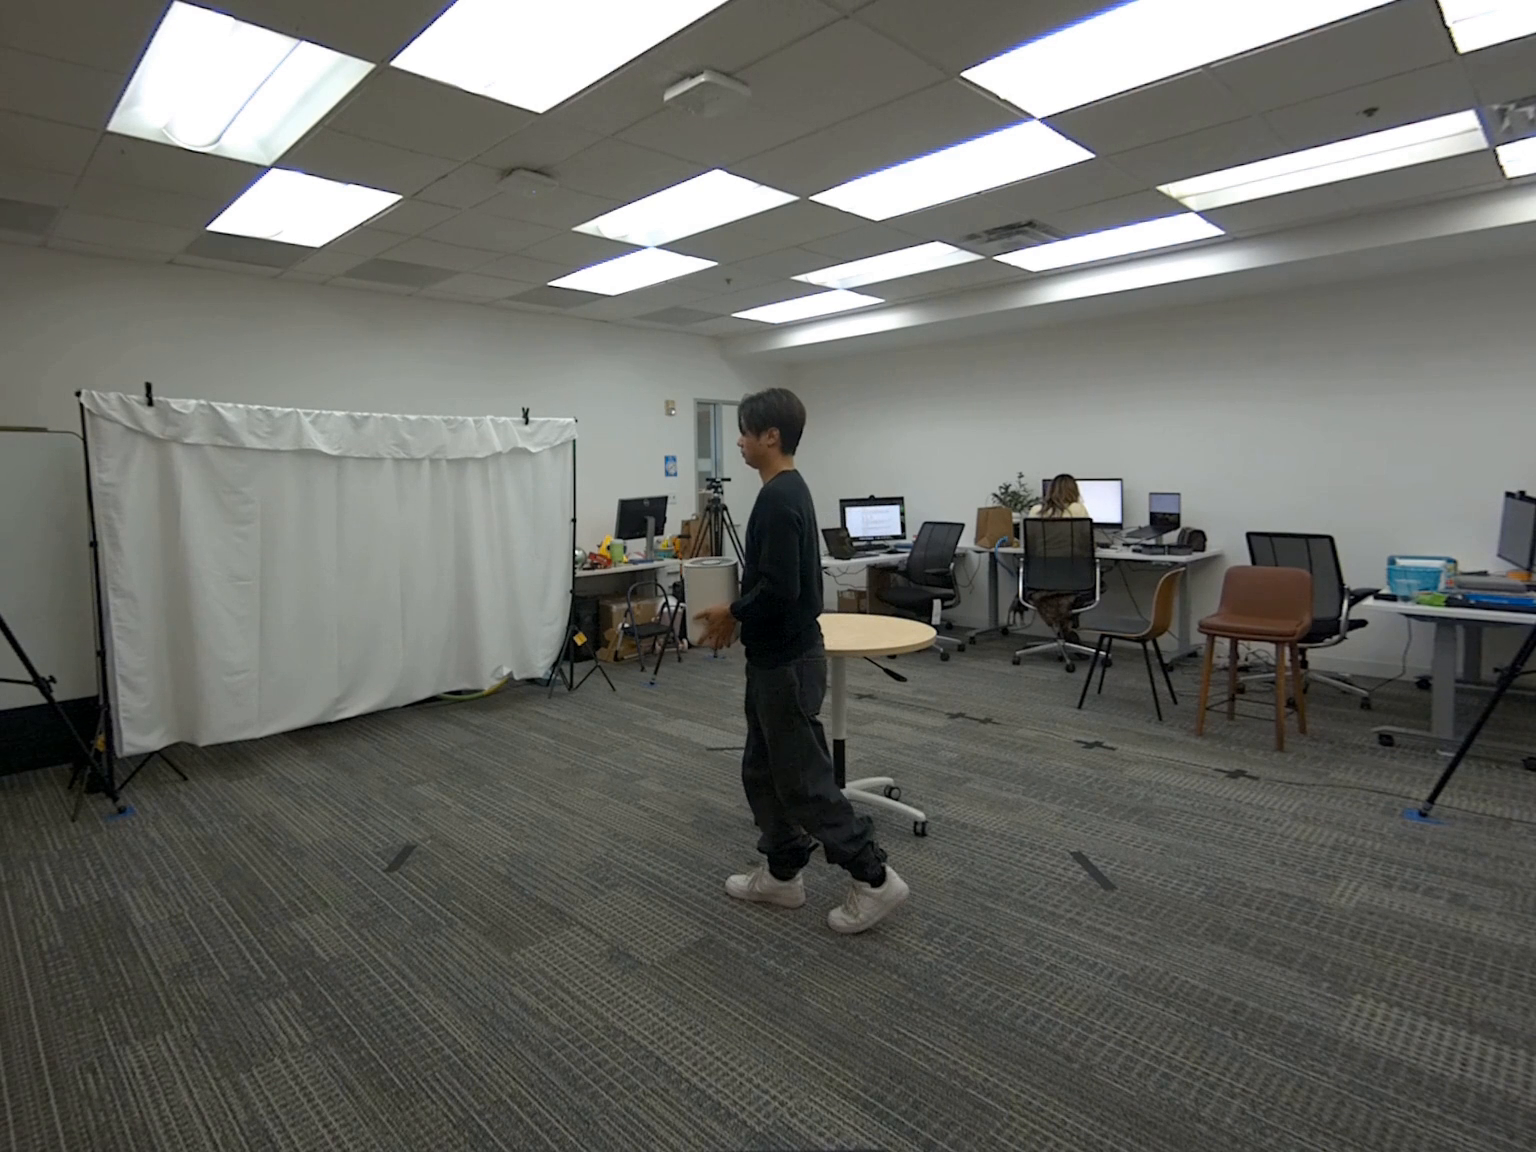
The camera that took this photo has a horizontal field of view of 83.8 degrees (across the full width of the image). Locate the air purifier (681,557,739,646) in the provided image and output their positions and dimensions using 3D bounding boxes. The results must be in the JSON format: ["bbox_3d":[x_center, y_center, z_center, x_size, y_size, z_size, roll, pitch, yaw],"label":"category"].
[{"bbox_3d":[-0.166,0.082,2.770,0.173,0.264,0.171,-1,7,10],"label":"air purifier"}]
